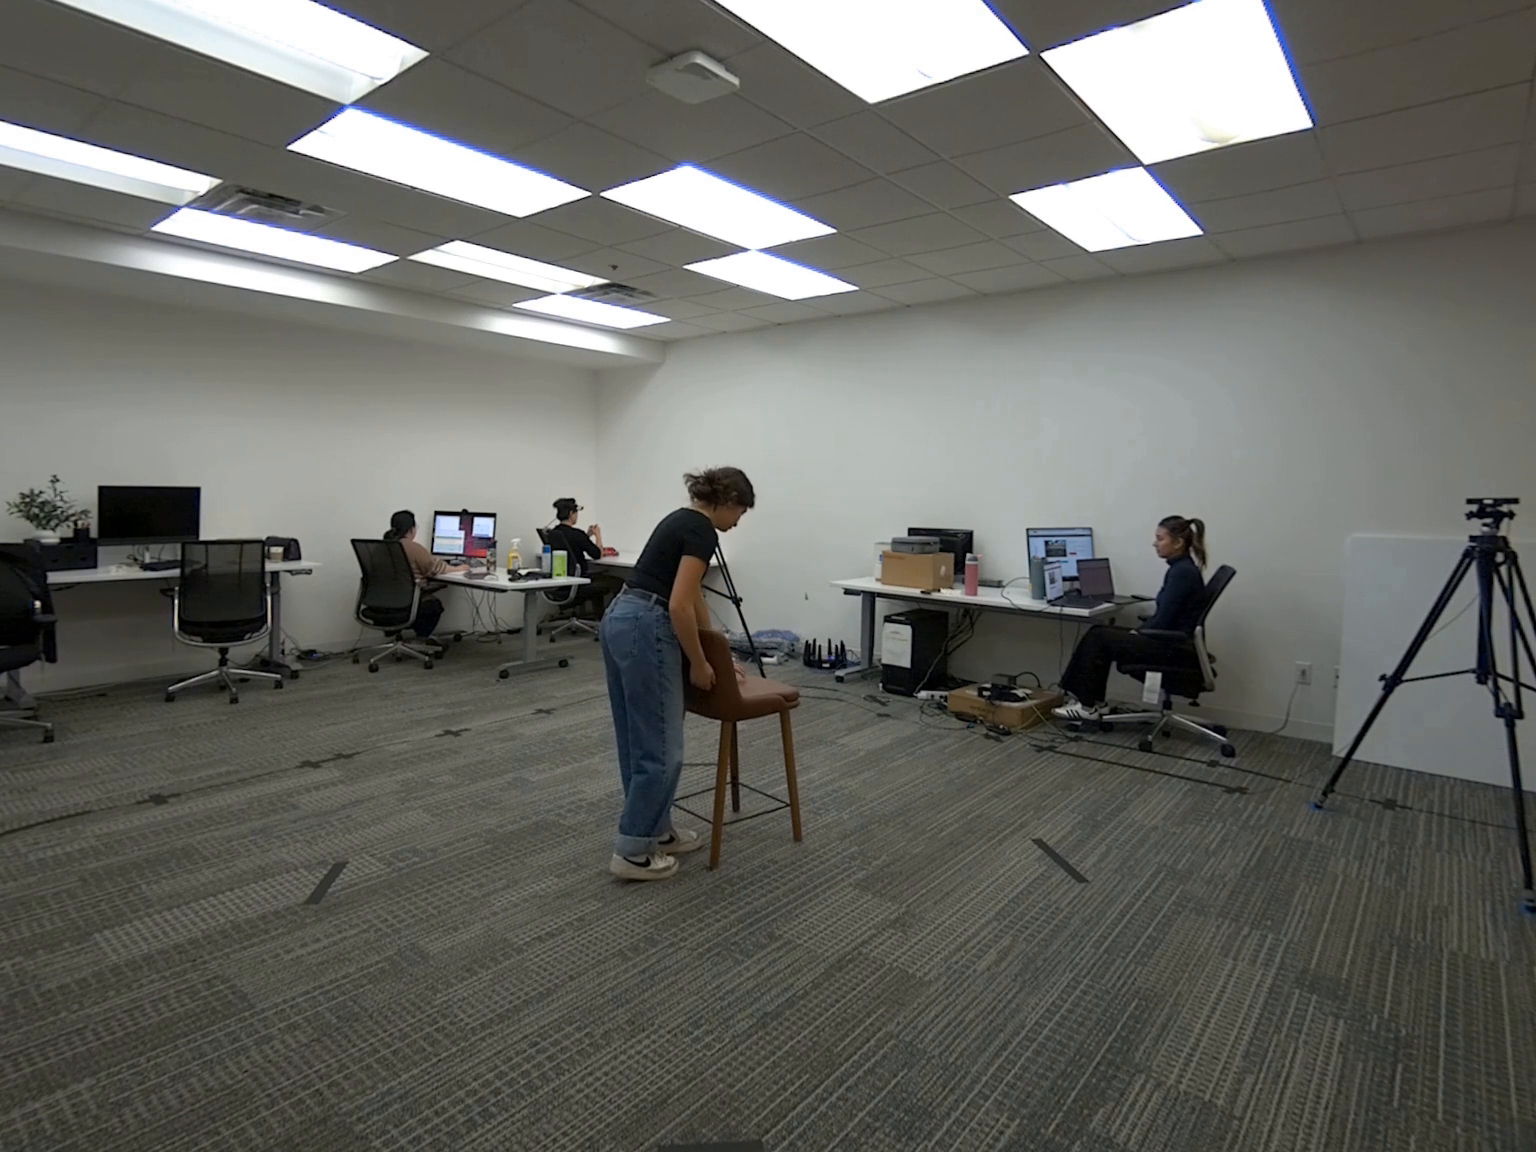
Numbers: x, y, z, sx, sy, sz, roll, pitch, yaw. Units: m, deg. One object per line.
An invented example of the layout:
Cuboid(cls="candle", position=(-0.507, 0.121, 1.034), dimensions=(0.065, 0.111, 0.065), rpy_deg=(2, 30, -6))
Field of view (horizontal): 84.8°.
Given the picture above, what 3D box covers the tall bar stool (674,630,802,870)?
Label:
Cuboid(cls="tall bar stool", position=(-0.164, 0.606, 3.363), dimensions=(0.454, 0.887, 0.472), rpy_deg=(-3, 5, -42))
